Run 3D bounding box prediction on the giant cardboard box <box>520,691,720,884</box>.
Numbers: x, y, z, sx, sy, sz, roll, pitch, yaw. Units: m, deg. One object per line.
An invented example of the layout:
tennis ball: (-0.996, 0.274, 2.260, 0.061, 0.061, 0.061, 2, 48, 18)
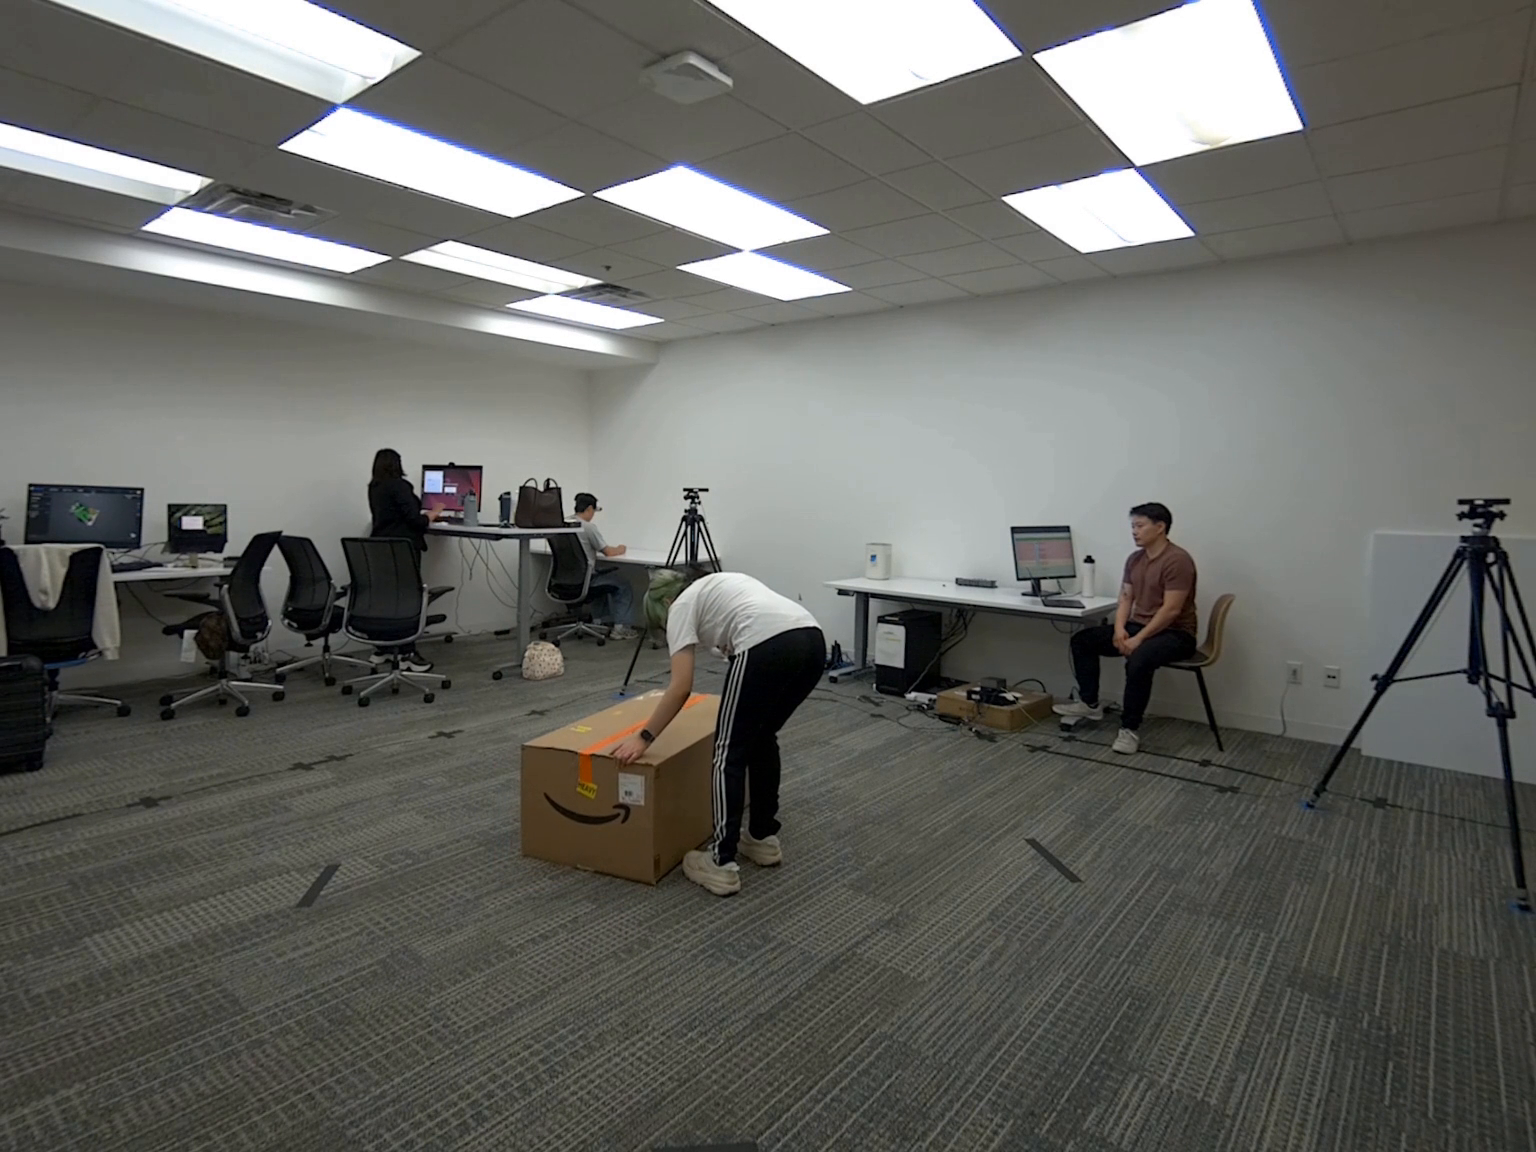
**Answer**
giant cardboard box: (-0.490, 0.805, 3.523, 0.591, 0.424, 1.006, 2, 5, 22)
